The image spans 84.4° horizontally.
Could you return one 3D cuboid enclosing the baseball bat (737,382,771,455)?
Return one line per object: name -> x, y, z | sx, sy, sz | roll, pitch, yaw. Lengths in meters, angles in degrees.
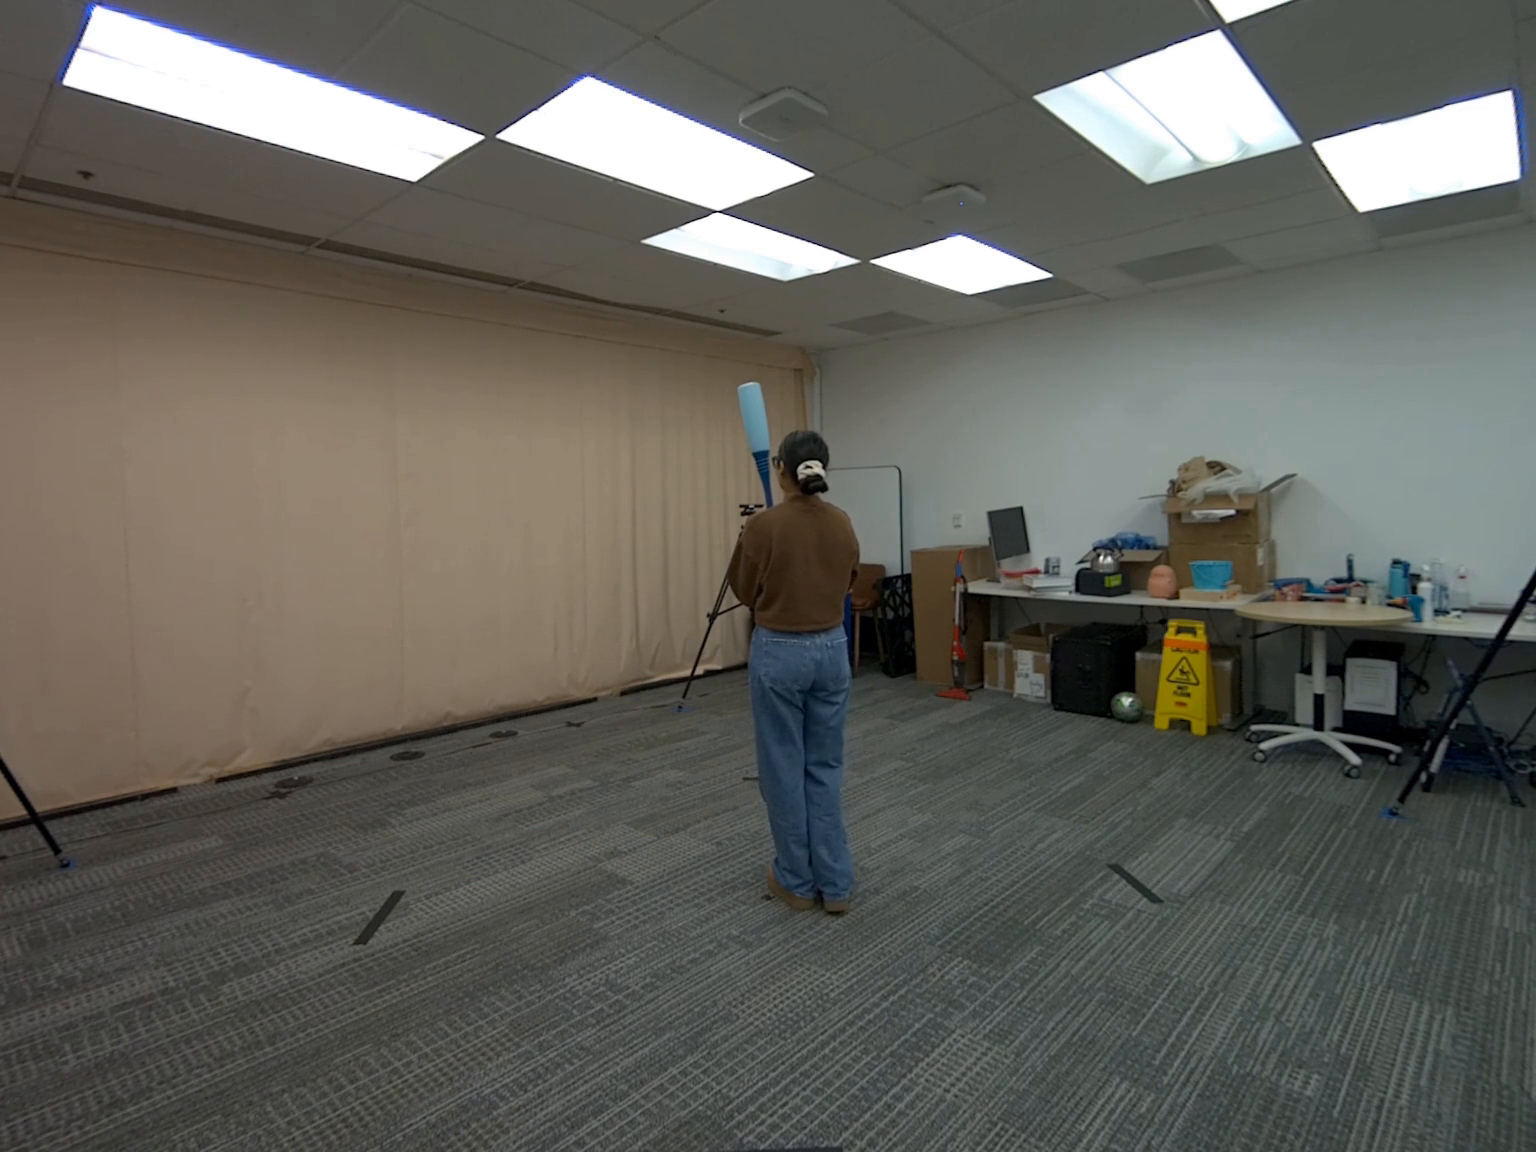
baseball bat -> -0.010, -0.437, 3.079 | 0.089, 0.542, 0.089 | -11, 1, -1
